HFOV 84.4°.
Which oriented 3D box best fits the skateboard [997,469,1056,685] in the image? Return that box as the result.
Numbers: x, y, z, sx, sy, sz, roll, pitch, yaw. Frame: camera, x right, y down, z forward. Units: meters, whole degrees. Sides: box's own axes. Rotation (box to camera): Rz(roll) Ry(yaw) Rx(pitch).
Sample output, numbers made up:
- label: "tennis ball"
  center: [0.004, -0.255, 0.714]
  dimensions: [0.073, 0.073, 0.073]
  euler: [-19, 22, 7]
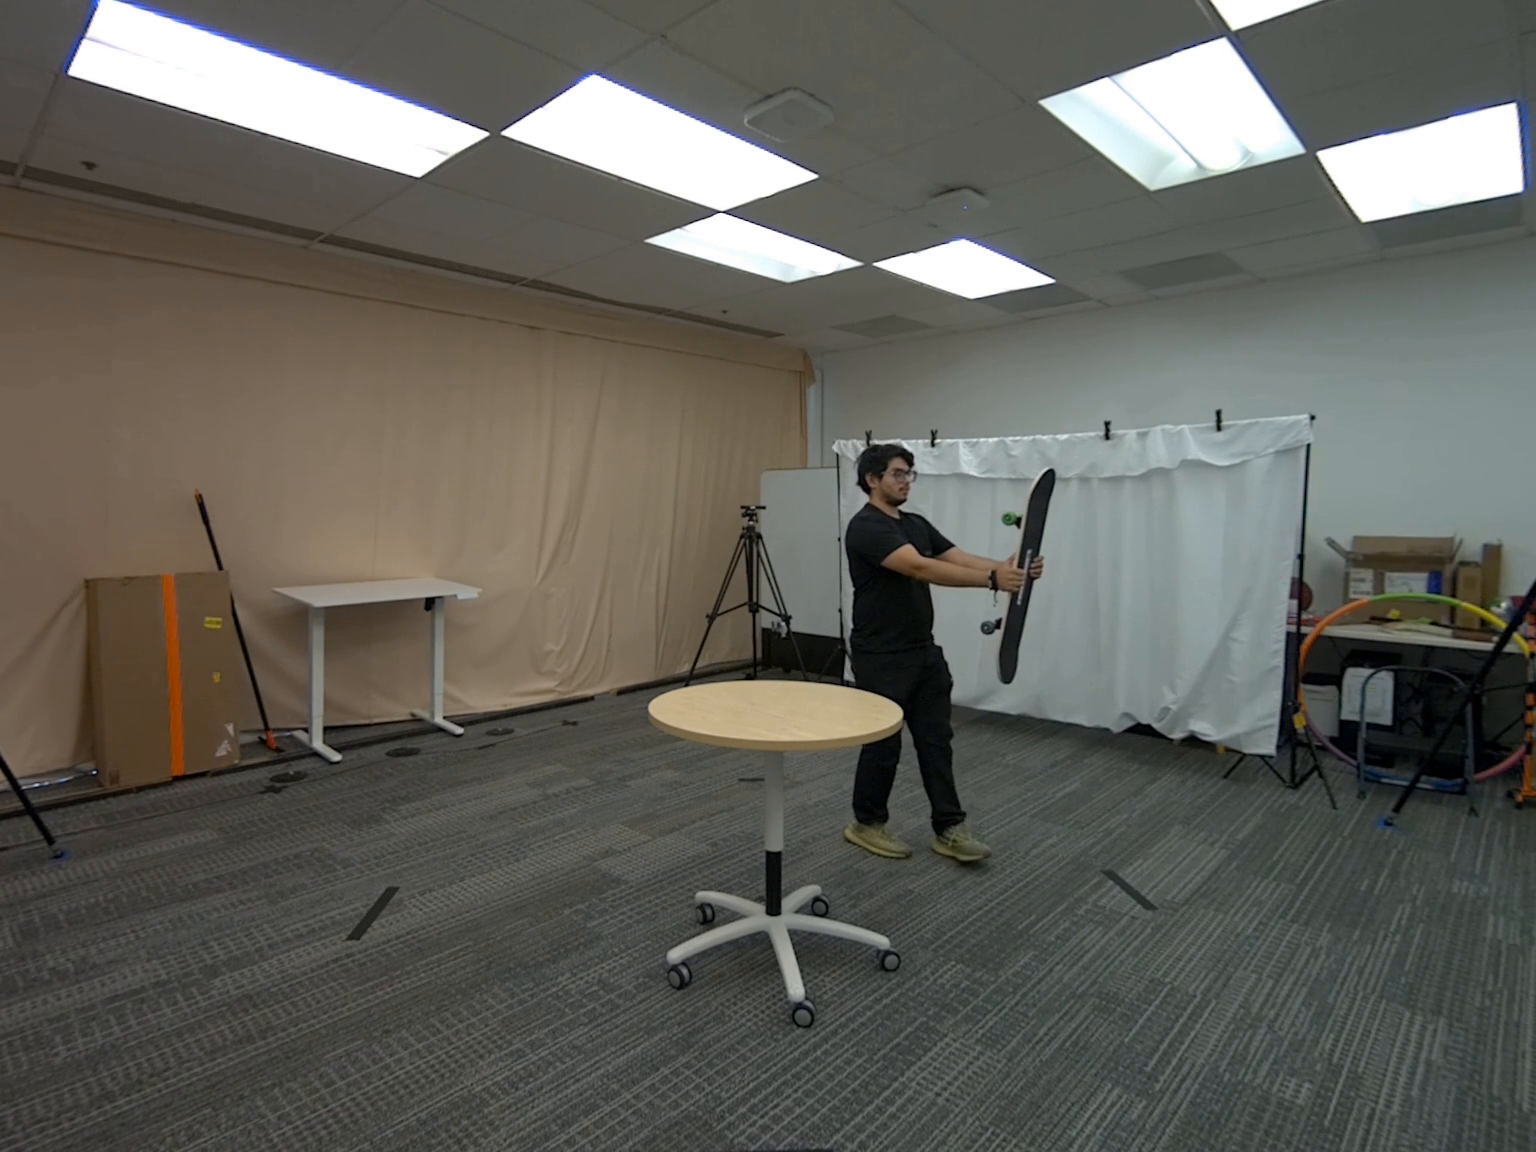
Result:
- label: "skateboard"
  center: [0.895, -0.003, 3.025]
  dimensions: [0.114, 0.783, 0.187]
  euler: [13, 8, 37]
